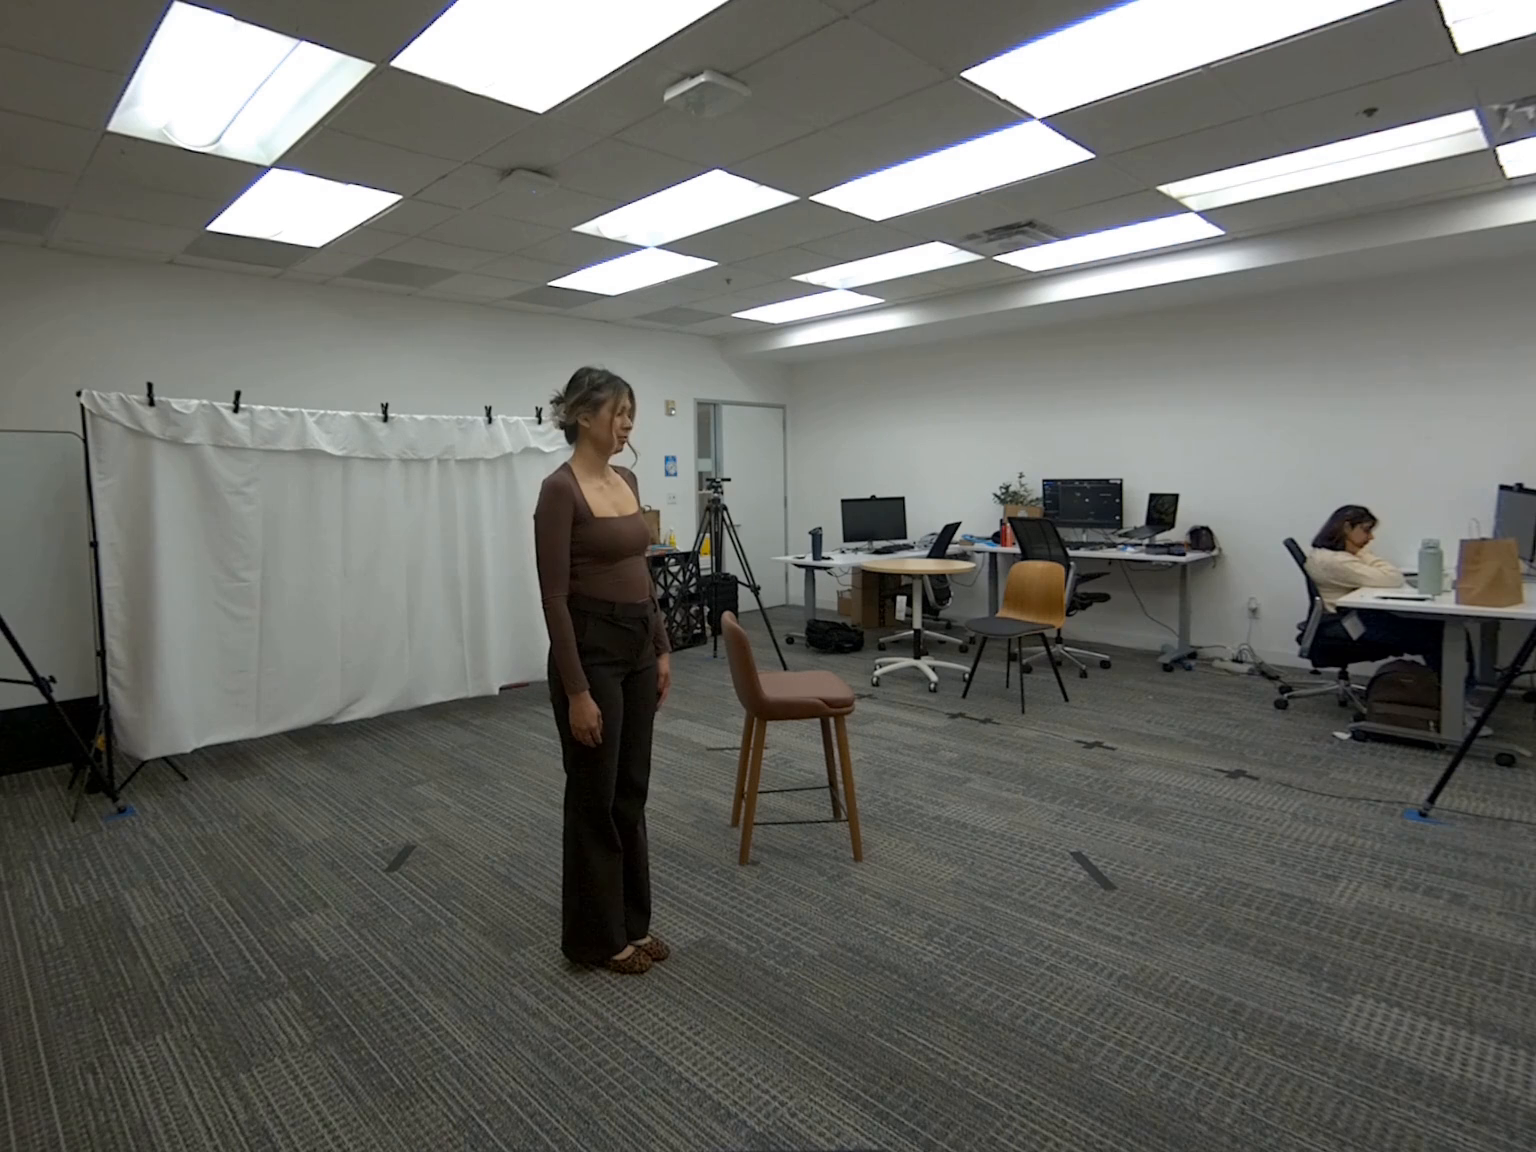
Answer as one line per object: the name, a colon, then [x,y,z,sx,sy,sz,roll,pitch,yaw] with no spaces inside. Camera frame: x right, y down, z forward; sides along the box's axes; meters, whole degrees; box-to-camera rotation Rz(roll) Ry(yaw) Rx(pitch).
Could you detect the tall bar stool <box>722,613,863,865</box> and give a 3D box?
tall bar stool: [0.087,0.588,3.260,0.465,0.886,0.461,-3,4,-6]
